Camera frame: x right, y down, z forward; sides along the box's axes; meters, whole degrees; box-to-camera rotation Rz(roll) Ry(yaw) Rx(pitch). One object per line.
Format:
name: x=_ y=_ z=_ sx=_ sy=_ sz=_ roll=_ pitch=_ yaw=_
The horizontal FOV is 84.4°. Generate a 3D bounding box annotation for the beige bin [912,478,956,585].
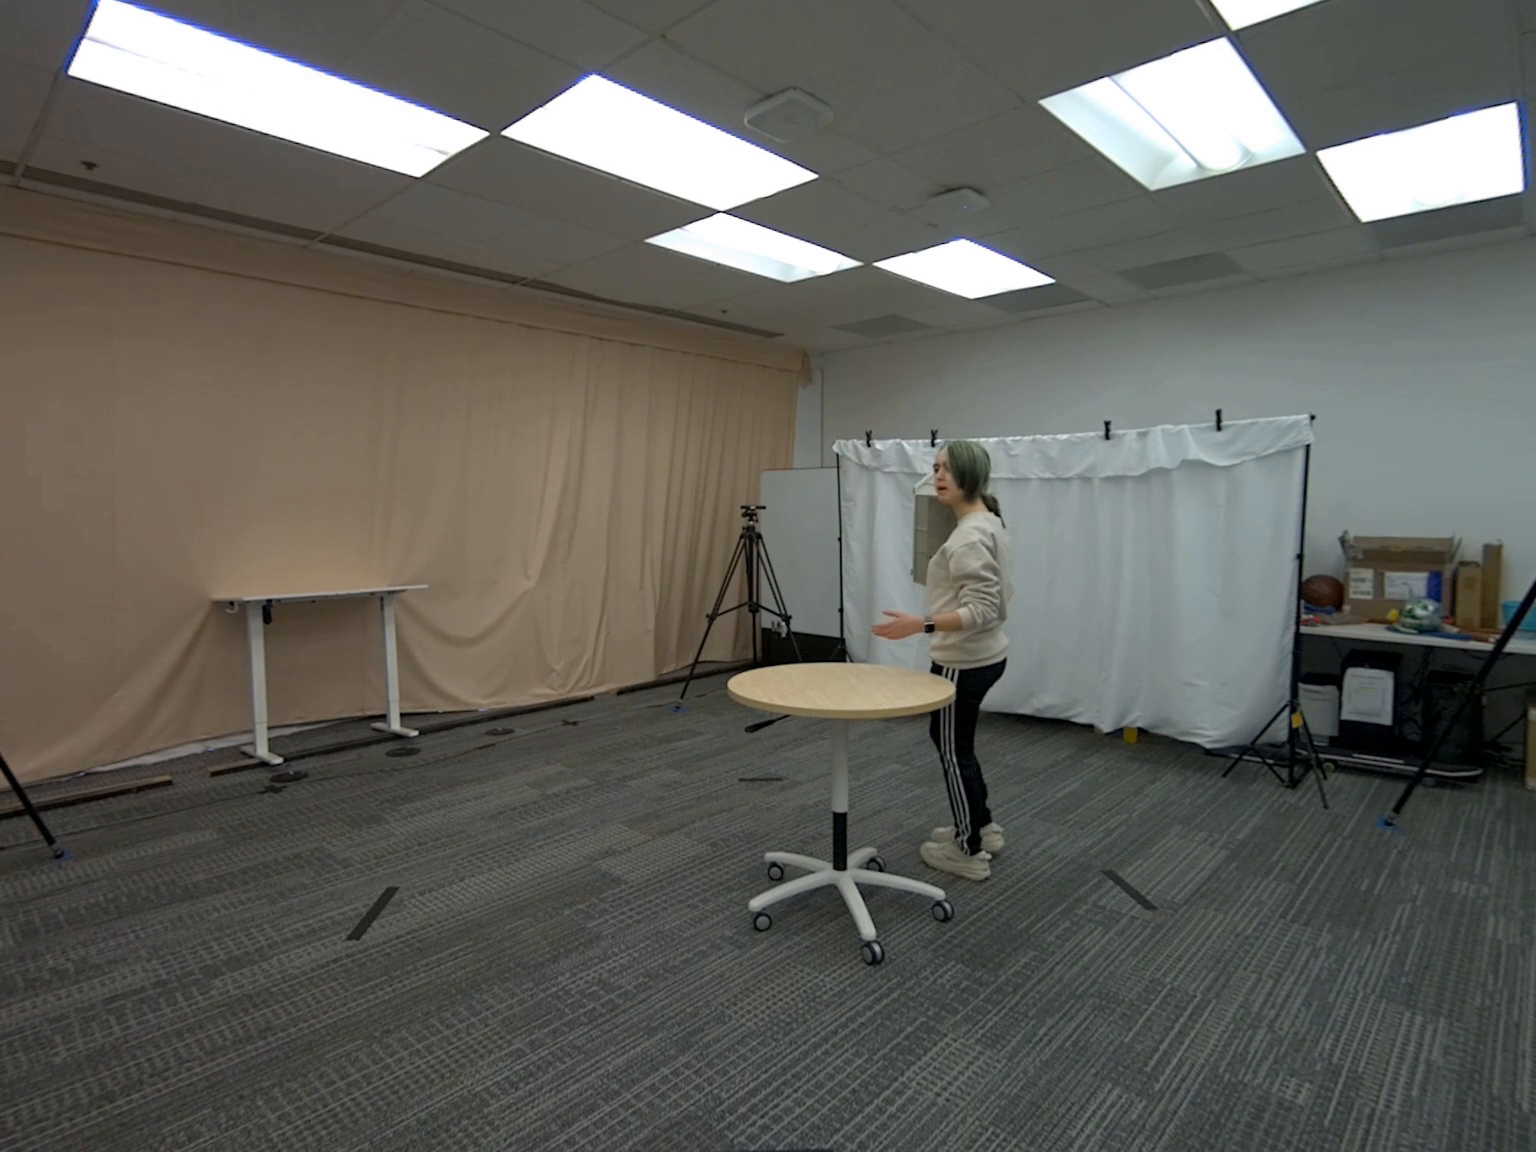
beige bin: x=0.748 y=-0.216 z=3.506 sx=0.195 sy=0.415 sz=0.372 roll=16 pitch=35 yaw=31
